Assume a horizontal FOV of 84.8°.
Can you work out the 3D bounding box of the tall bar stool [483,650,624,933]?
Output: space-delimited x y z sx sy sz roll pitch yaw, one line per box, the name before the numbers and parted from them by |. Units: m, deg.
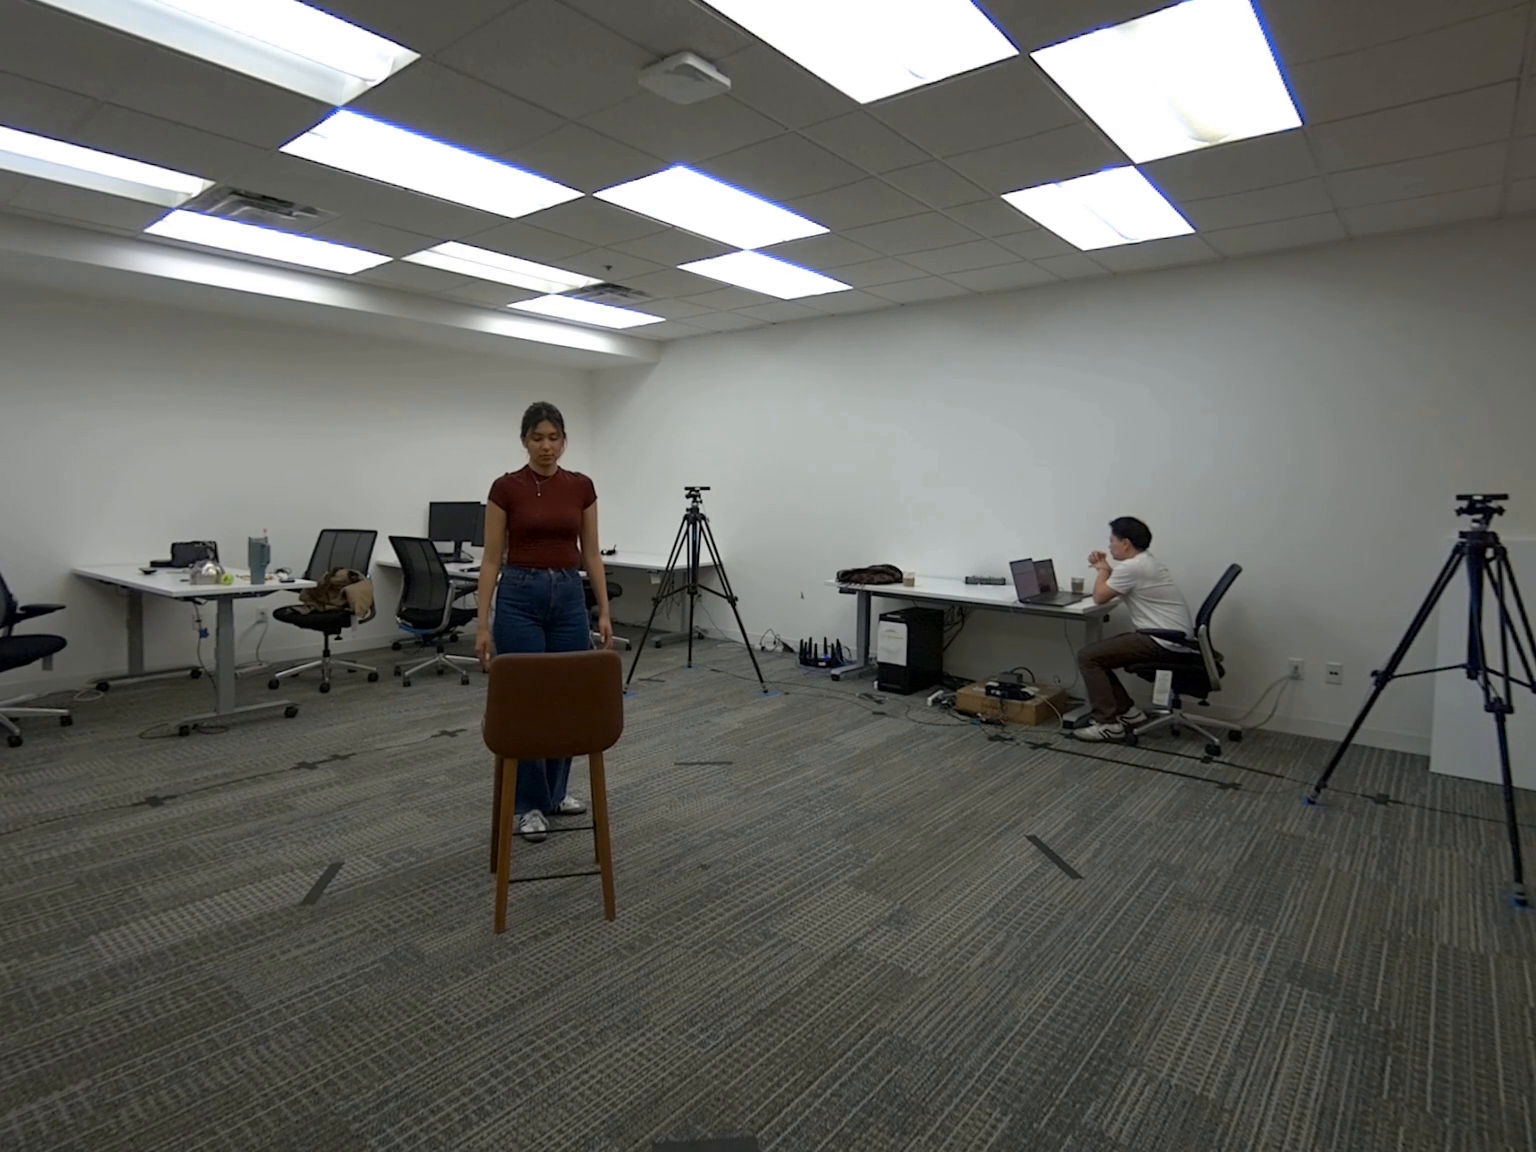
tall bar stool | -0.743 0.648 2.868 0.449 0.886 0.478 0 5 -18
